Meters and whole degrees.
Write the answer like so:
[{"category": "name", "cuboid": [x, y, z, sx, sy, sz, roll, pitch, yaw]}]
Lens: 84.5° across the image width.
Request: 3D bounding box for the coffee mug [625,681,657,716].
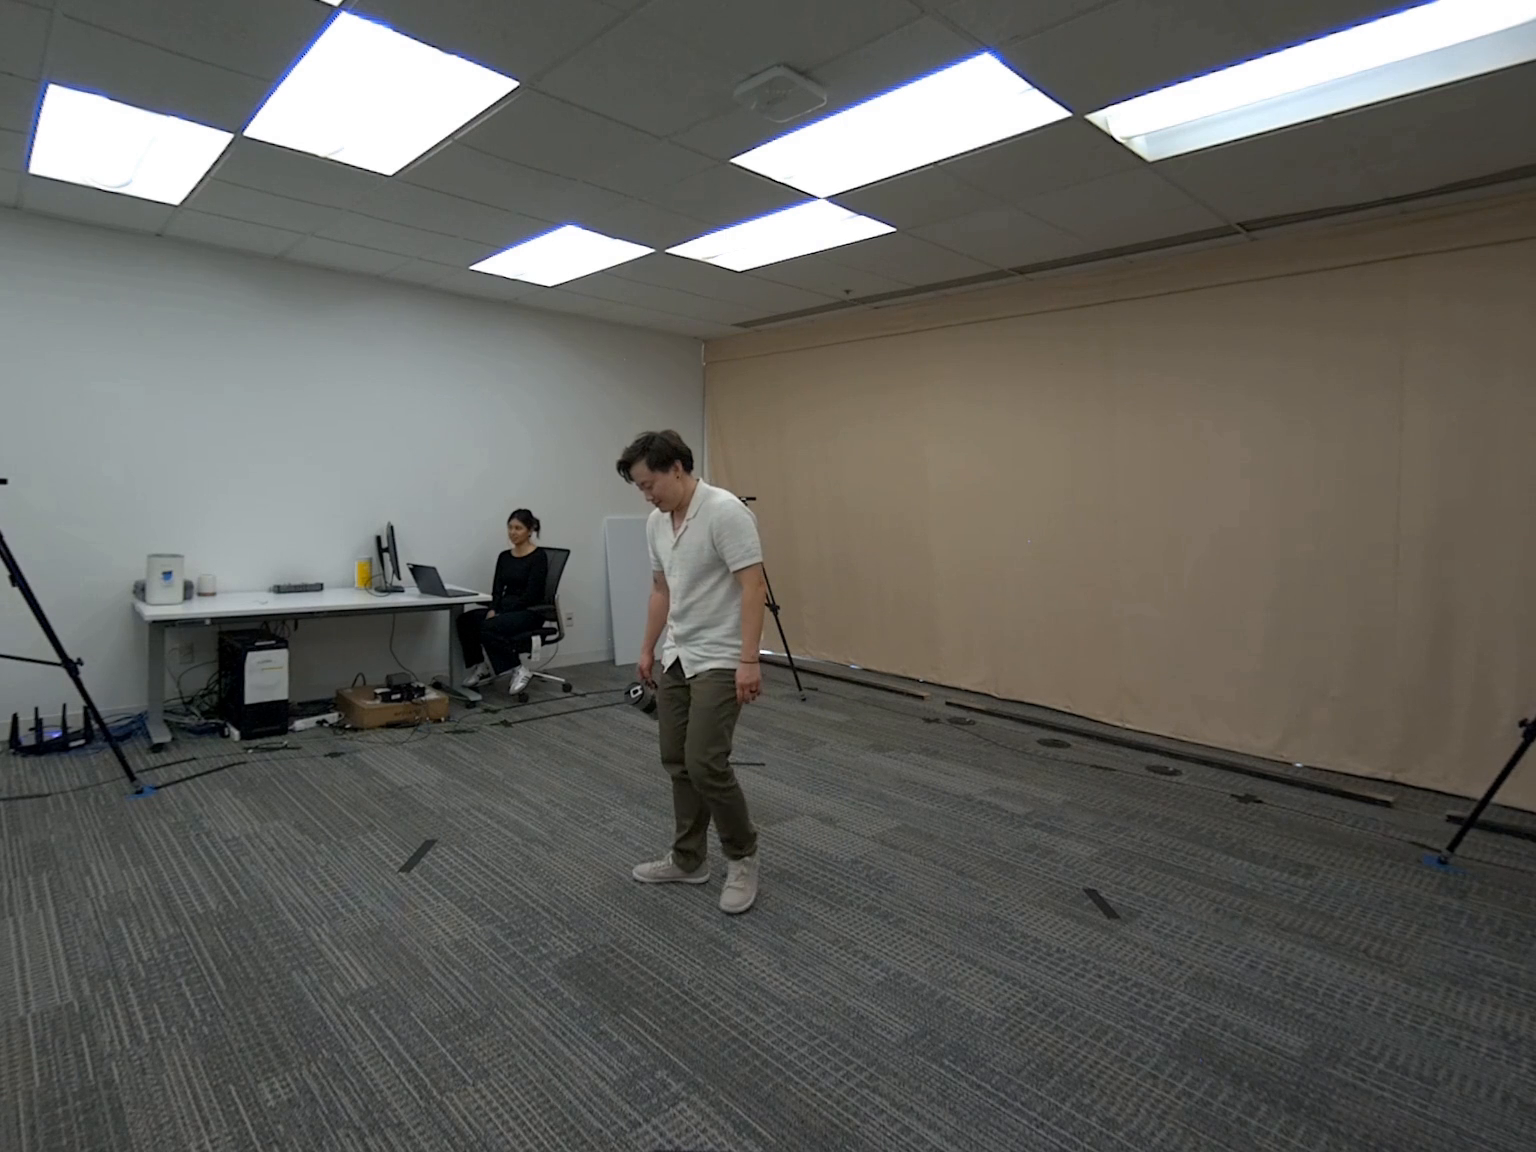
[{"category": "coffee mug", "cuboid": [-0.449, 0.473, 3.207, 0.091, 0.122, 0.196, 39, -5, 40]}]
